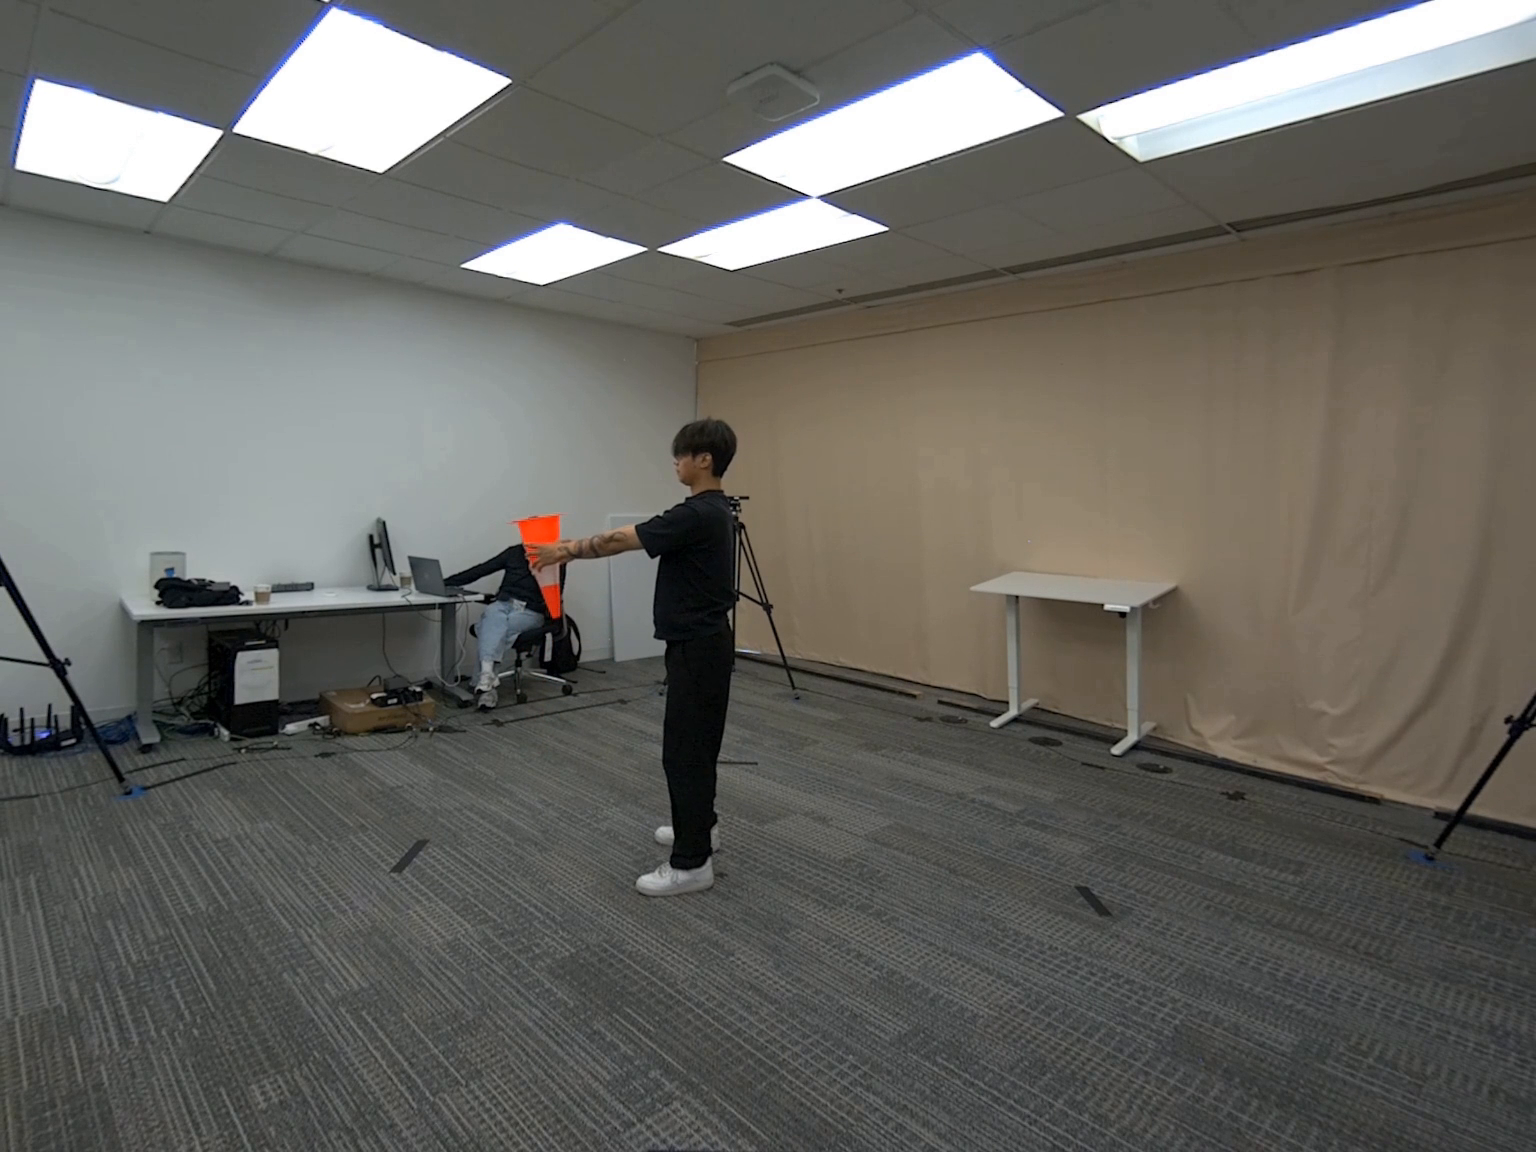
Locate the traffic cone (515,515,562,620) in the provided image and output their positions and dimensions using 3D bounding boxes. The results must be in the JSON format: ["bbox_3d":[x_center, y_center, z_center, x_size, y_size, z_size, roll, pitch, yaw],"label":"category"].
[{"bbox_3d":[-0.838,-0.027,3.173,0.204,0.382,0.205,-8,6,6],"label":"traffic cone"}]
